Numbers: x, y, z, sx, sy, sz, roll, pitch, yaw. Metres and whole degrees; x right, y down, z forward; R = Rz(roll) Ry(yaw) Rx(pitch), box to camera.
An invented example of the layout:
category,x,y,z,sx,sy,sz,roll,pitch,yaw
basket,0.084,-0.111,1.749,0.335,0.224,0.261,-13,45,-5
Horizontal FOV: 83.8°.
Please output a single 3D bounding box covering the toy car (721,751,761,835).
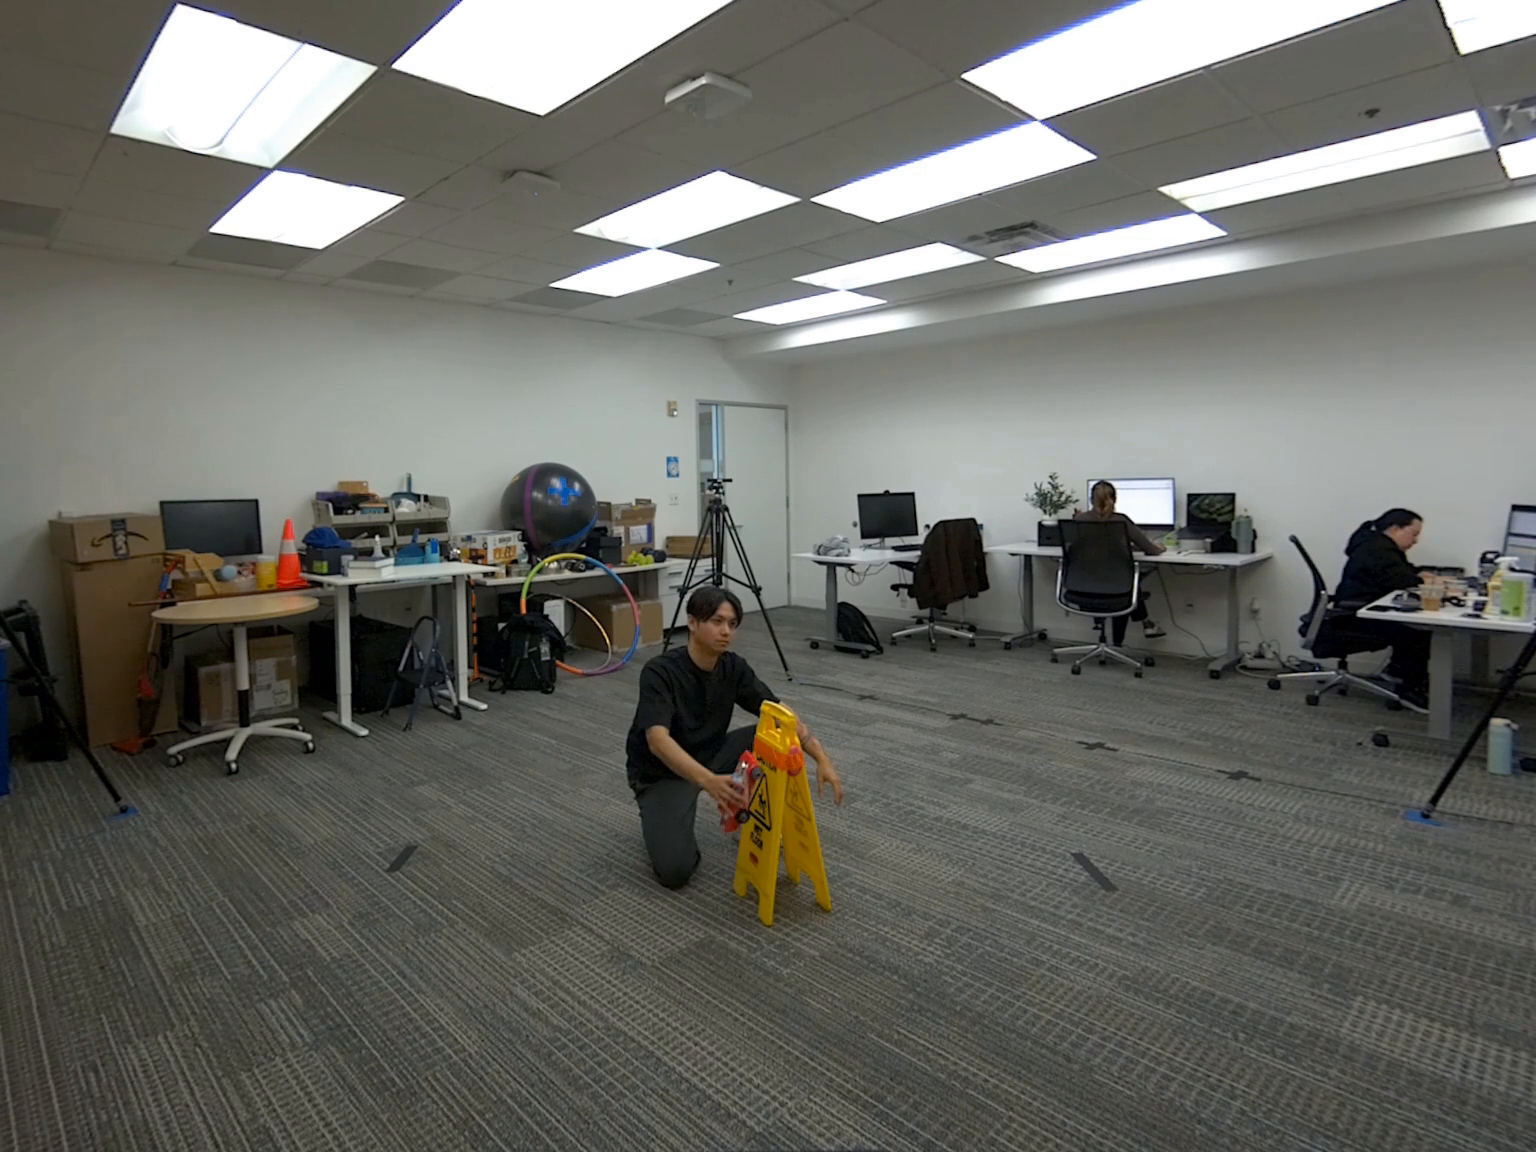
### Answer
category,x,y,z,sx,sy,sz,roll,pitch,yaw
toy car,-0.094,0.699,2.724,0.081,0.255,0.133,28,-2,-18
